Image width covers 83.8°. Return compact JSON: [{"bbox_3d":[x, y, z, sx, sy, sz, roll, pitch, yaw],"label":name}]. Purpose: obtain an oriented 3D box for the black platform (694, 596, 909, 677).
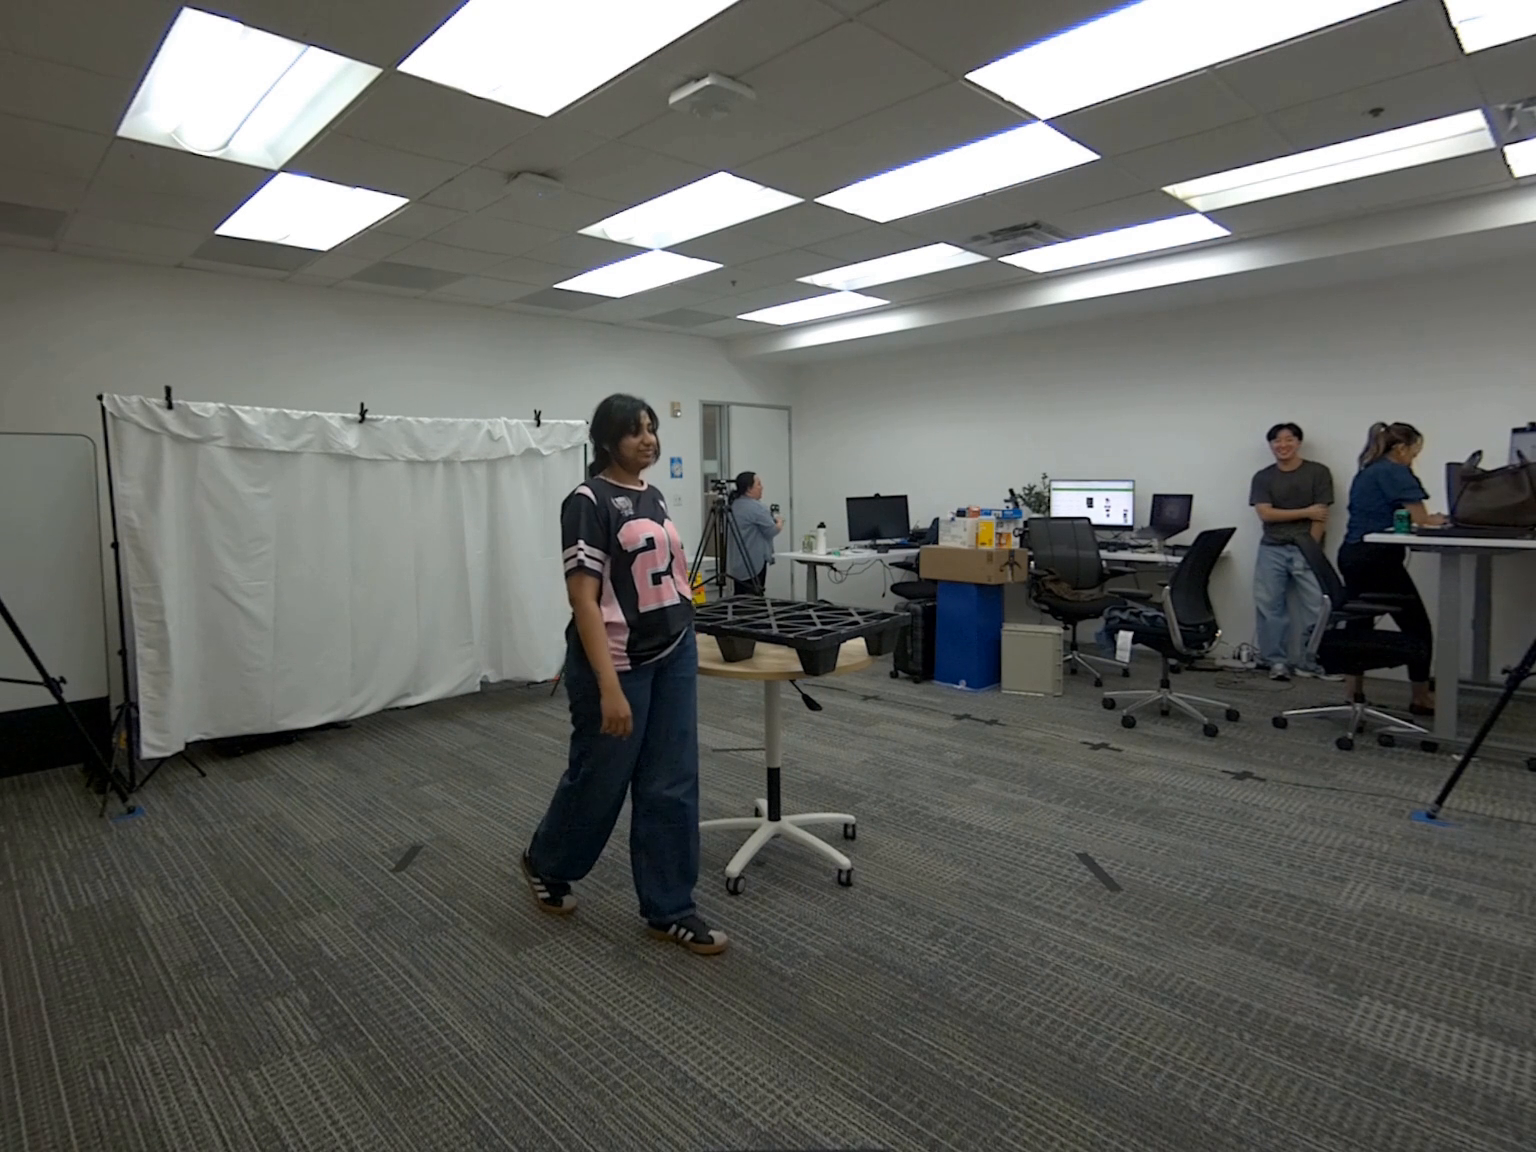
[{"bbox_3d":[0.018,0.206,3.057,0.830,0.142,0.590,5,9,41],"label":"black platform"}]
